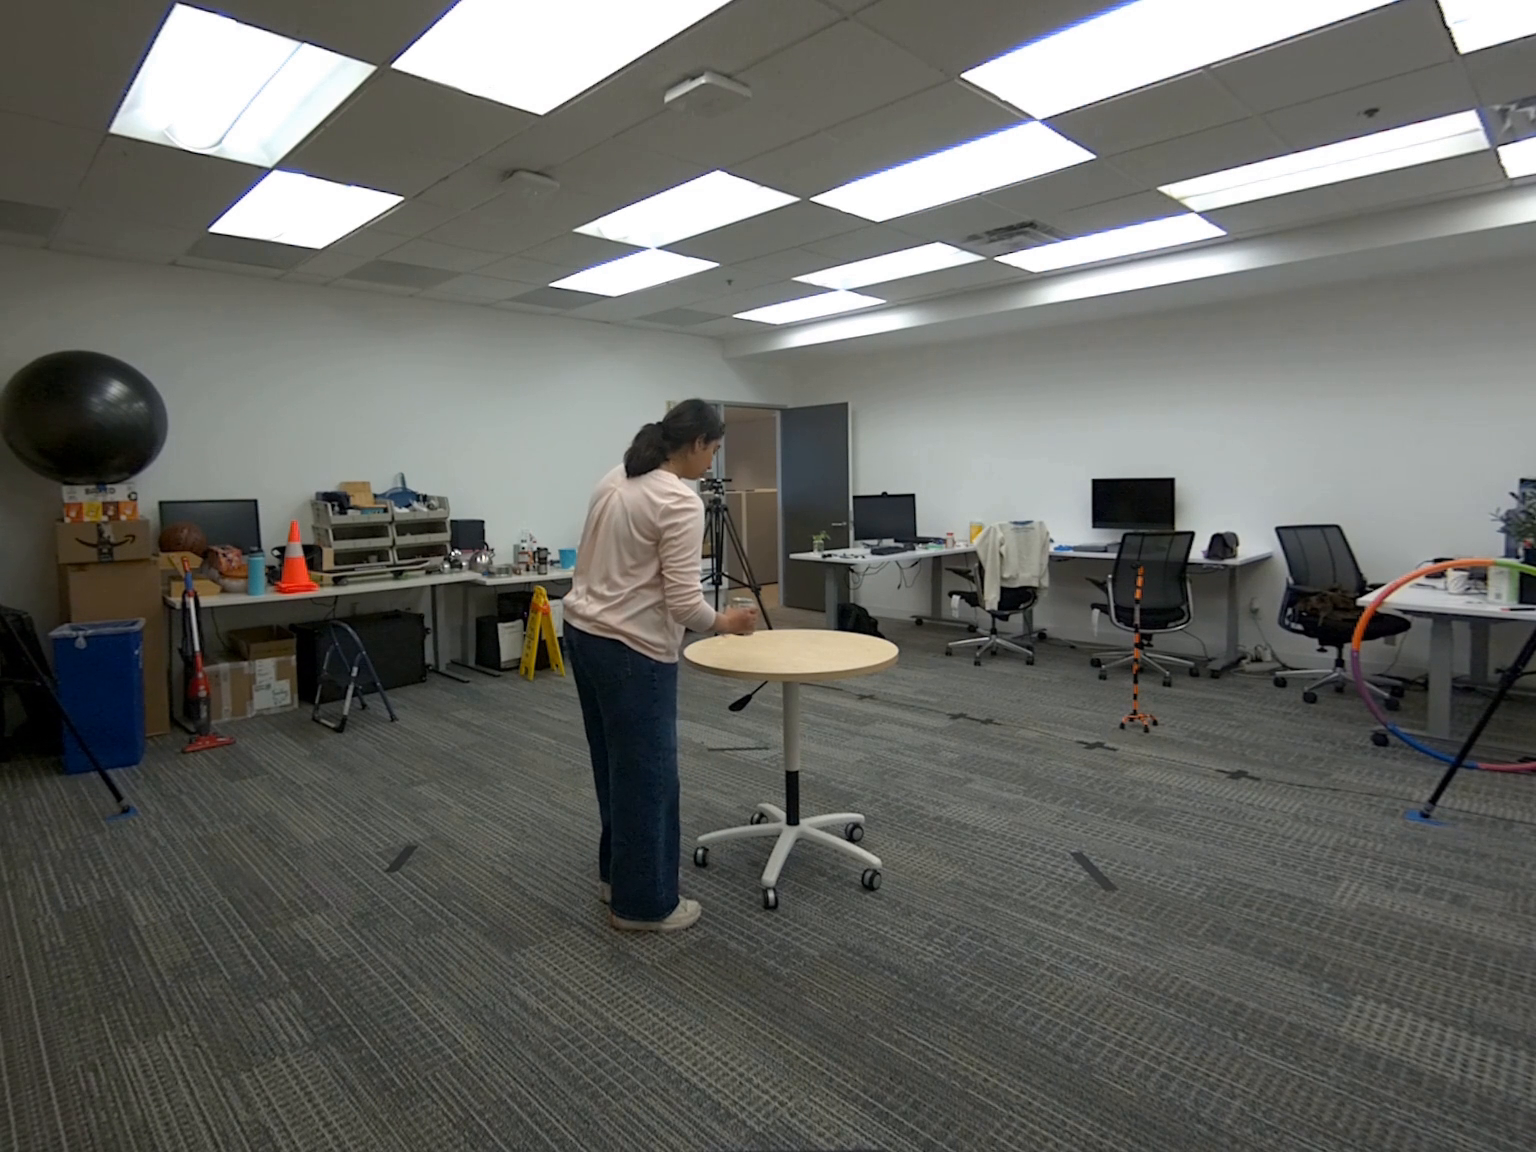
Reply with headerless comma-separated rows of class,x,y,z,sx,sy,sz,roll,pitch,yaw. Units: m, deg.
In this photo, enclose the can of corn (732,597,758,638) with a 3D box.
can of corn,-0.077,0.132,2.756,0.074,0.110,0.075,2,8,-2
